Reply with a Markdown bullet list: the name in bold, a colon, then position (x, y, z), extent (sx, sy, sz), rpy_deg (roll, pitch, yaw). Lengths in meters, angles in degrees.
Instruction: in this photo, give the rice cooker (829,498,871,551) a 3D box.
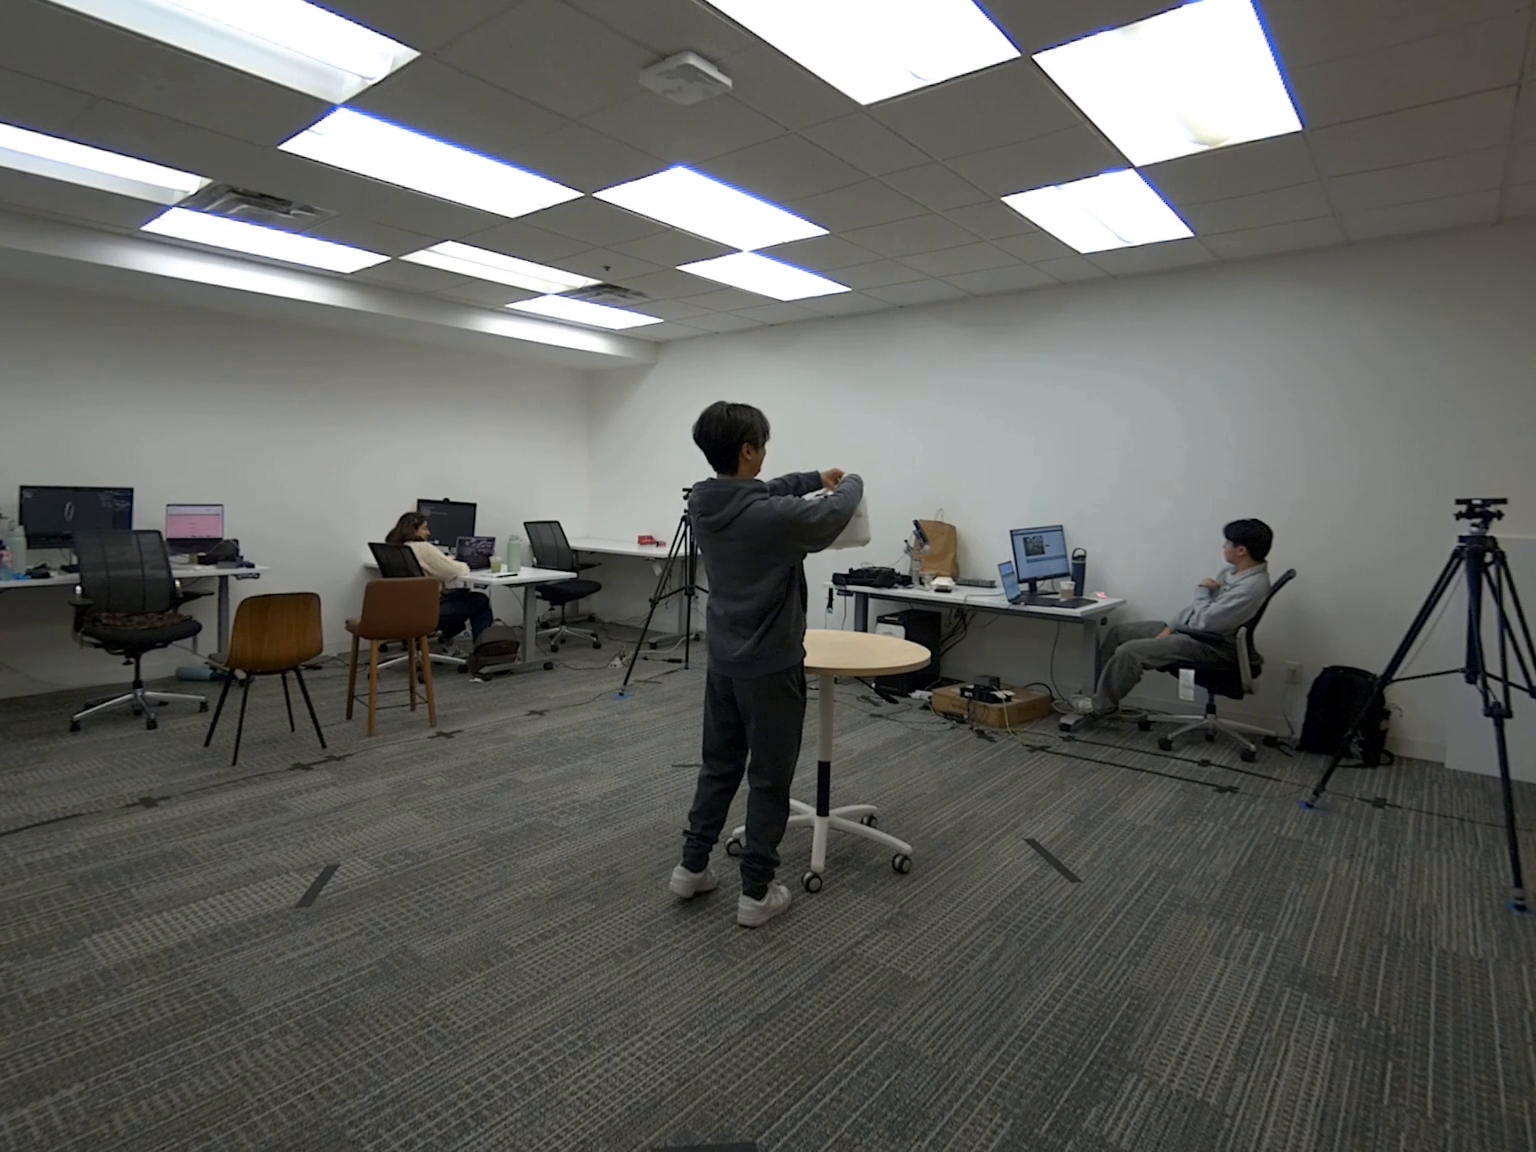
- **rice cooker**: position (0.255, -0.216, 3.118), extent (0.212, 0.232, 0.226), rpy_deg (-9, 3, -35)
